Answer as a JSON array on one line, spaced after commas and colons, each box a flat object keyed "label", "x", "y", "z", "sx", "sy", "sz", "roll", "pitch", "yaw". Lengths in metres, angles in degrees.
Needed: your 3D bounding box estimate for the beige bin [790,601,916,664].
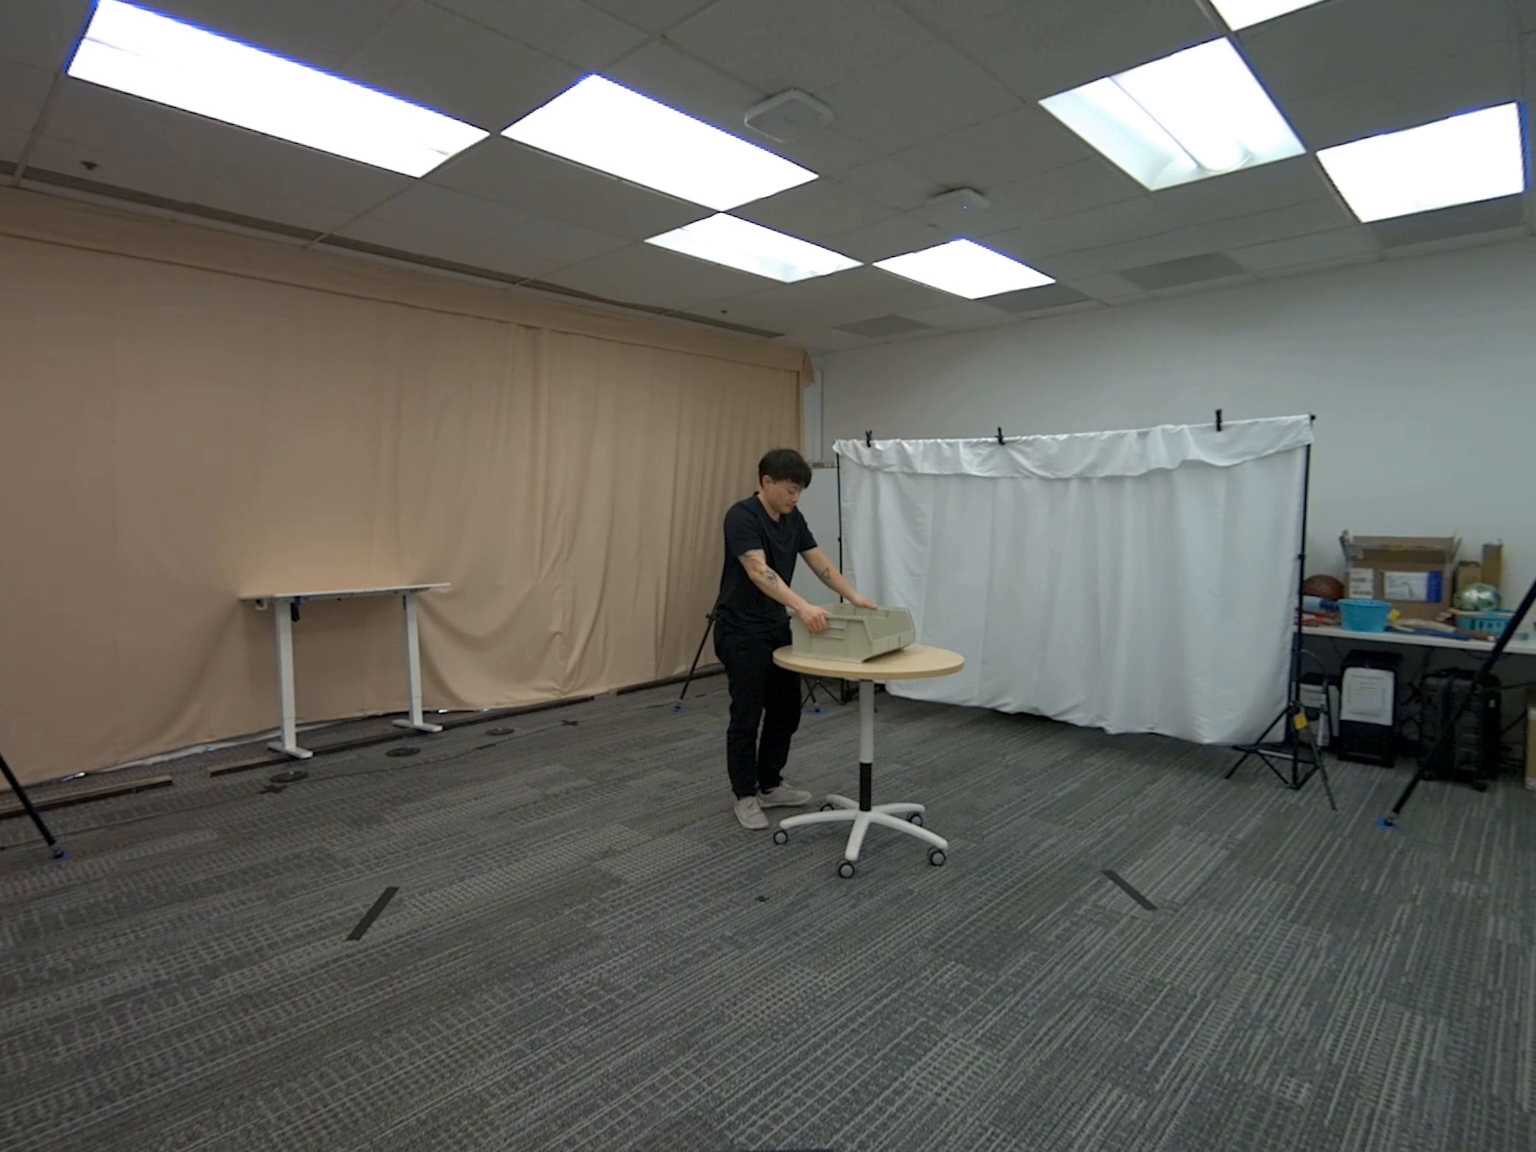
[{"label": "beige bin", "x": 0.353, "y": 0.231, "z": 3.481, "sx": 0.389, "sy": 0.188, "sz": 0.410, "roll": 1, "pitch": 4, "yaw": 34}]
